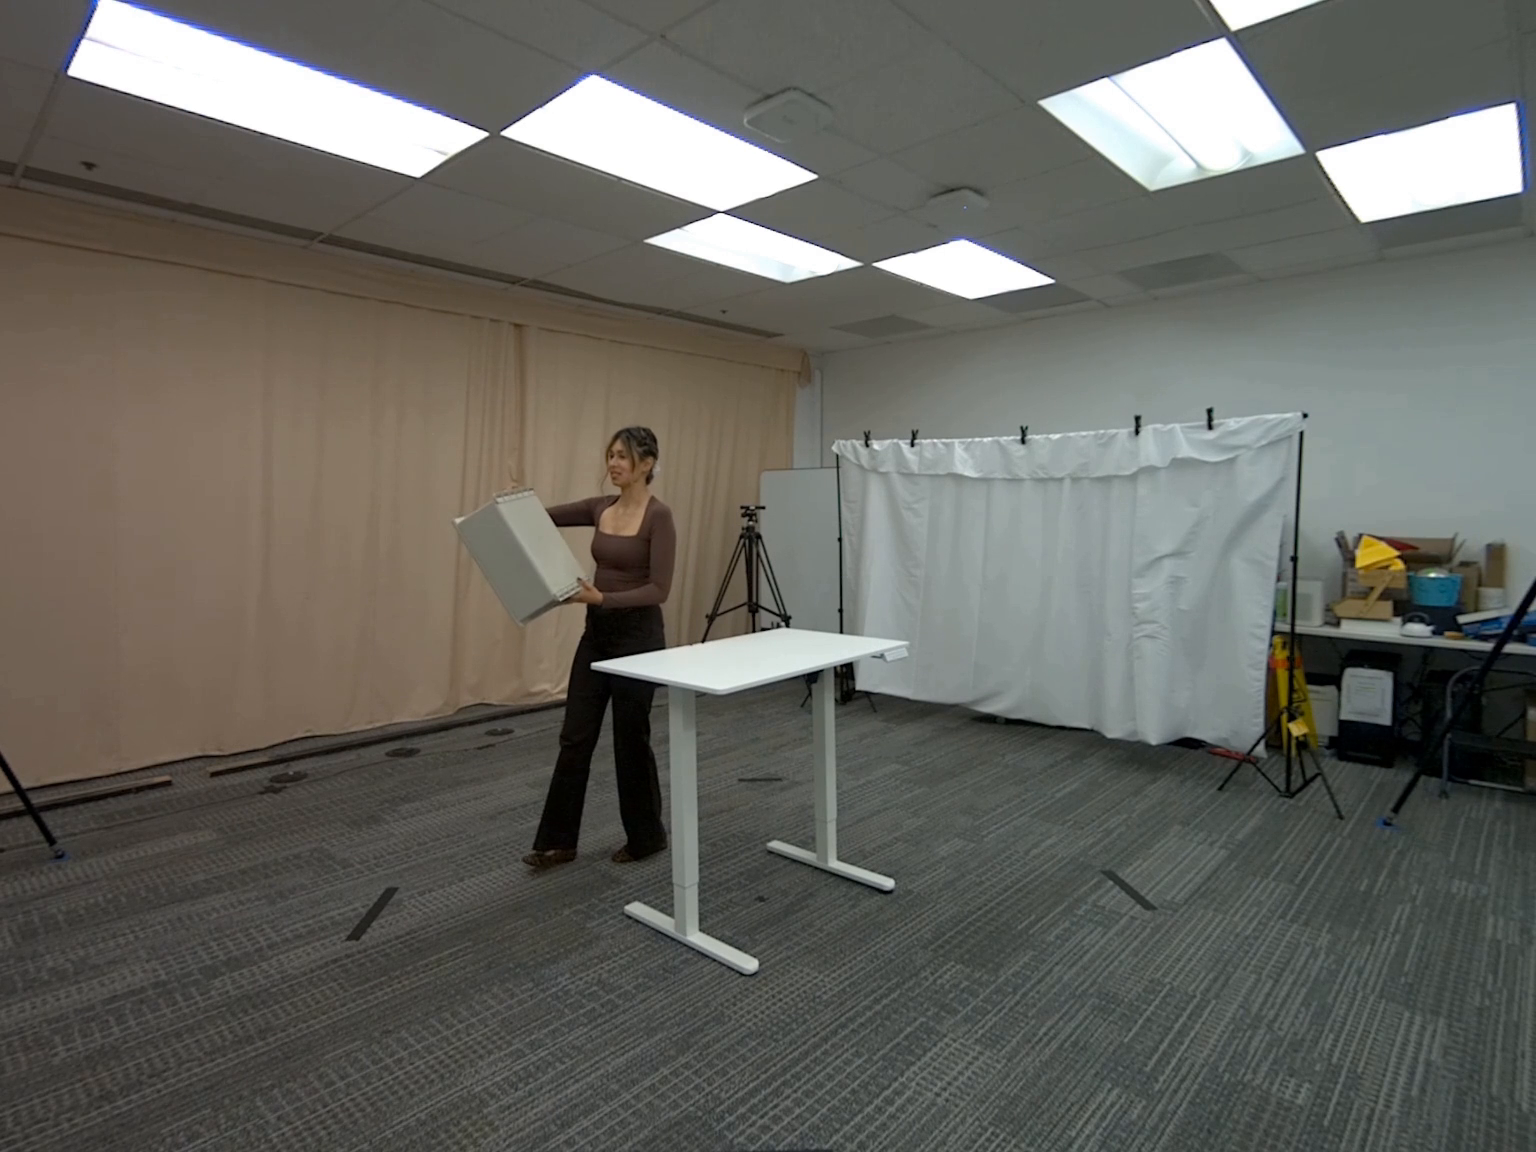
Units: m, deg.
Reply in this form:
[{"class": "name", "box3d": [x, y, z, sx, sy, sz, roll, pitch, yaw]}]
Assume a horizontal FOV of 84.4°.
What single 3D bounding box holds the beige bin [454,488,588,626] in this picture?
[{"class": "beige bin", "box3d": [-0.838, -0.074, 2.945, 0.190, 0.421, 0.375, -31, 3, 12]}]
